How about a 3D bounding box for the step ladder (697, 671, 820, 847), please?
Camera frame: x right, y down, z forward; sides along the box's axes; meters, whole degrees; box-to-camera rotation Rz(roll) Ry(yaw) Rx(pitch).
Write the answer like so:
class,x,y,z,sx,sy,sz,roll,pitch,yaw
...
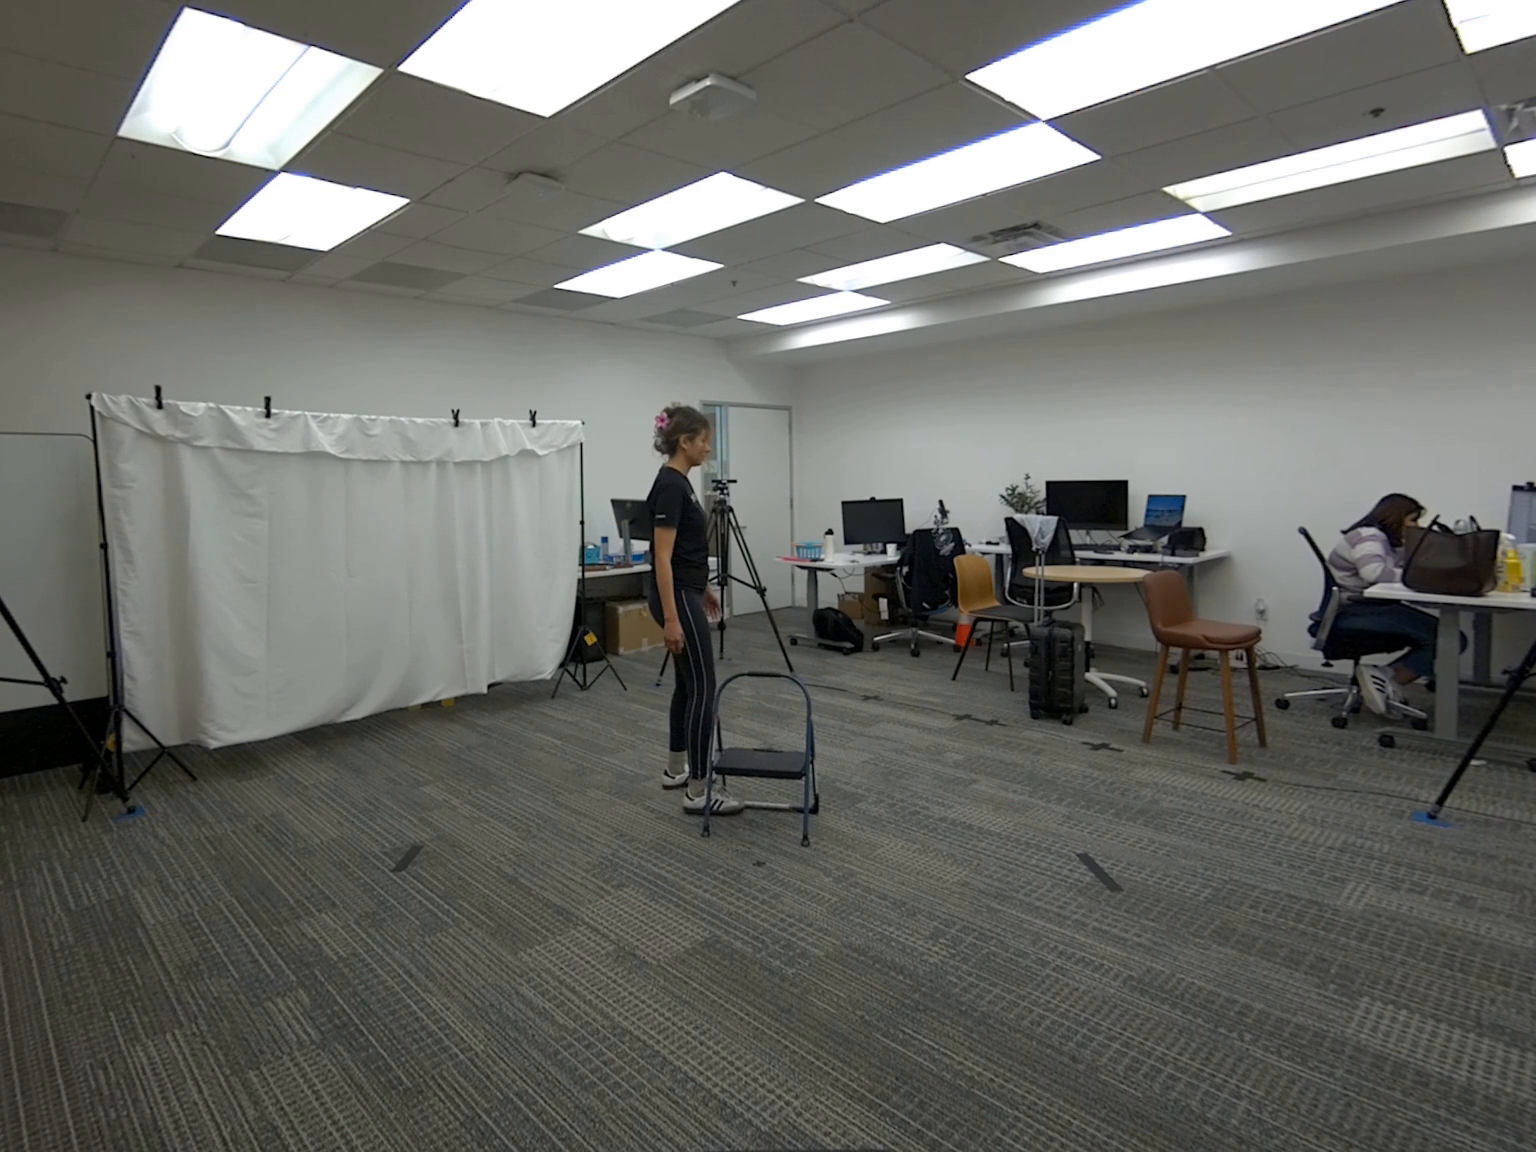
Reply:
class,x,y,z,sx,sy,sz,roll,pitch,yaw
step ladder,-0.020,0.705,3.453,0.436,0.604,0.346,0,4,13
